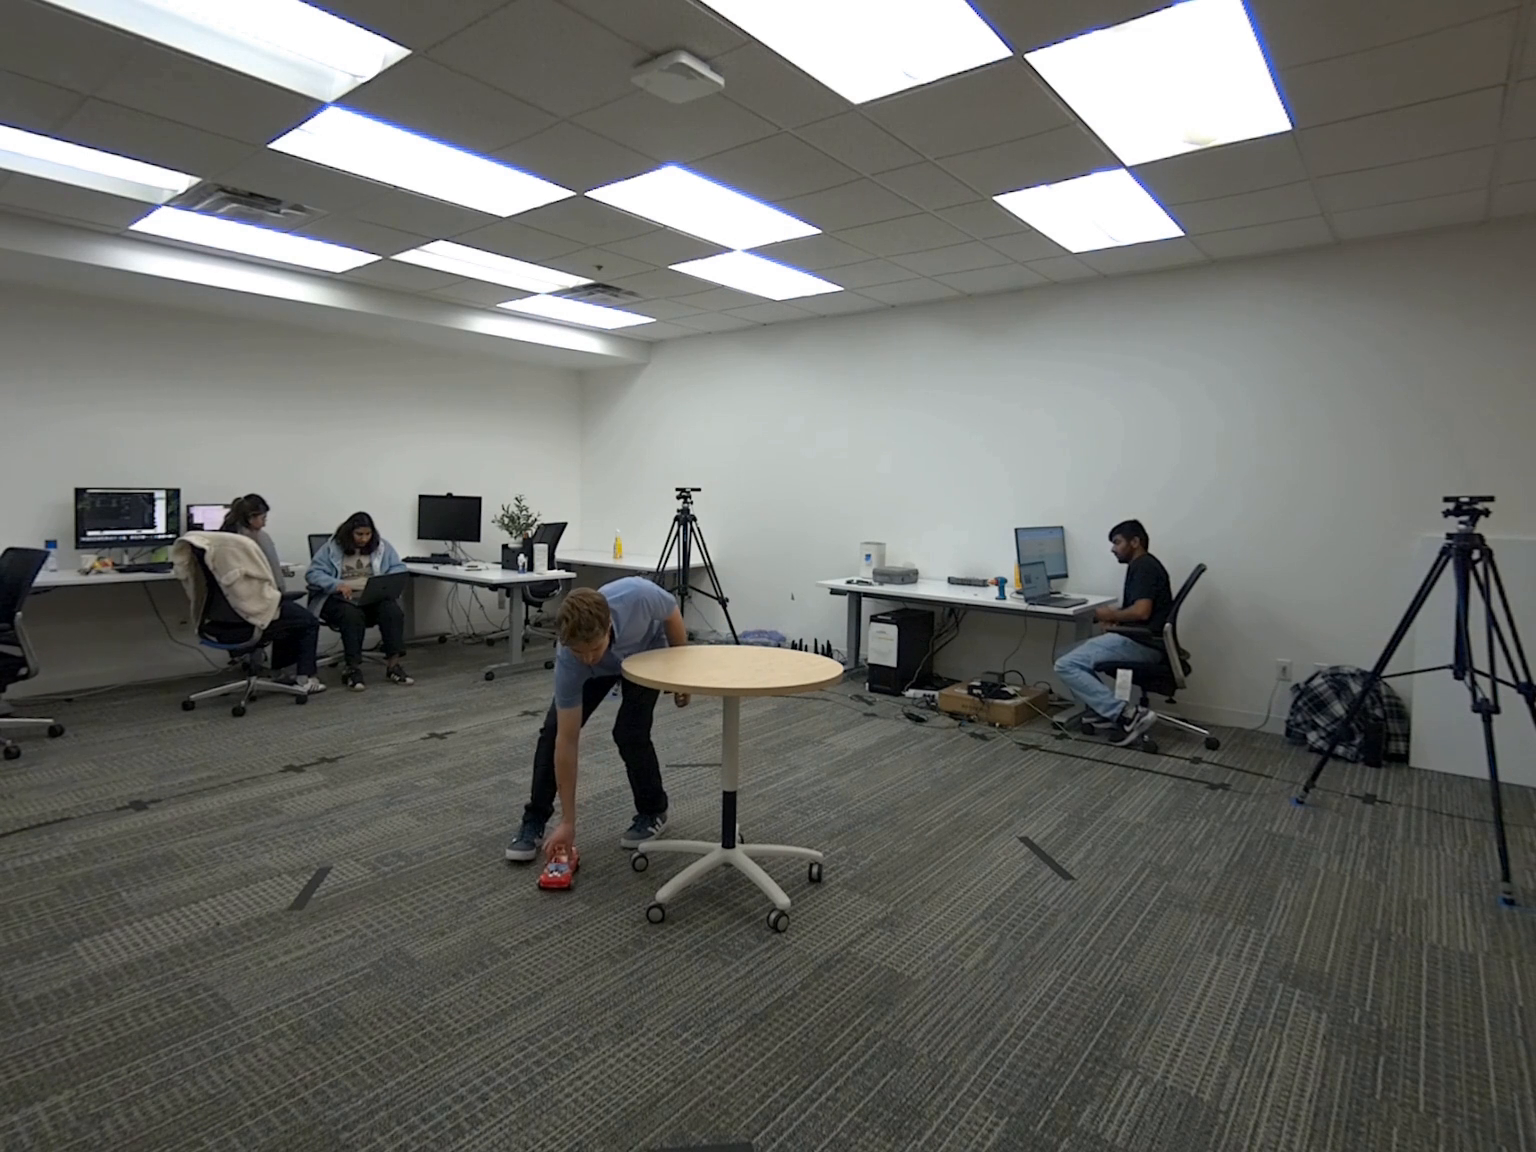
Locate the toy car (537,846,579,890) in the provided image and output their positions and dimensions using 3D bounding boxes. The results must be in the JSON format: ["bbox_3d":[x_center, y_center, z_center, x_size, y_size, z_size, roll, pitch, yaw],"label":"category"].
[{"bbox_3d":[-0.753,1.039,3.026,0.130,0.082,0.258,0,15,-3],"label":"toy car"}]
